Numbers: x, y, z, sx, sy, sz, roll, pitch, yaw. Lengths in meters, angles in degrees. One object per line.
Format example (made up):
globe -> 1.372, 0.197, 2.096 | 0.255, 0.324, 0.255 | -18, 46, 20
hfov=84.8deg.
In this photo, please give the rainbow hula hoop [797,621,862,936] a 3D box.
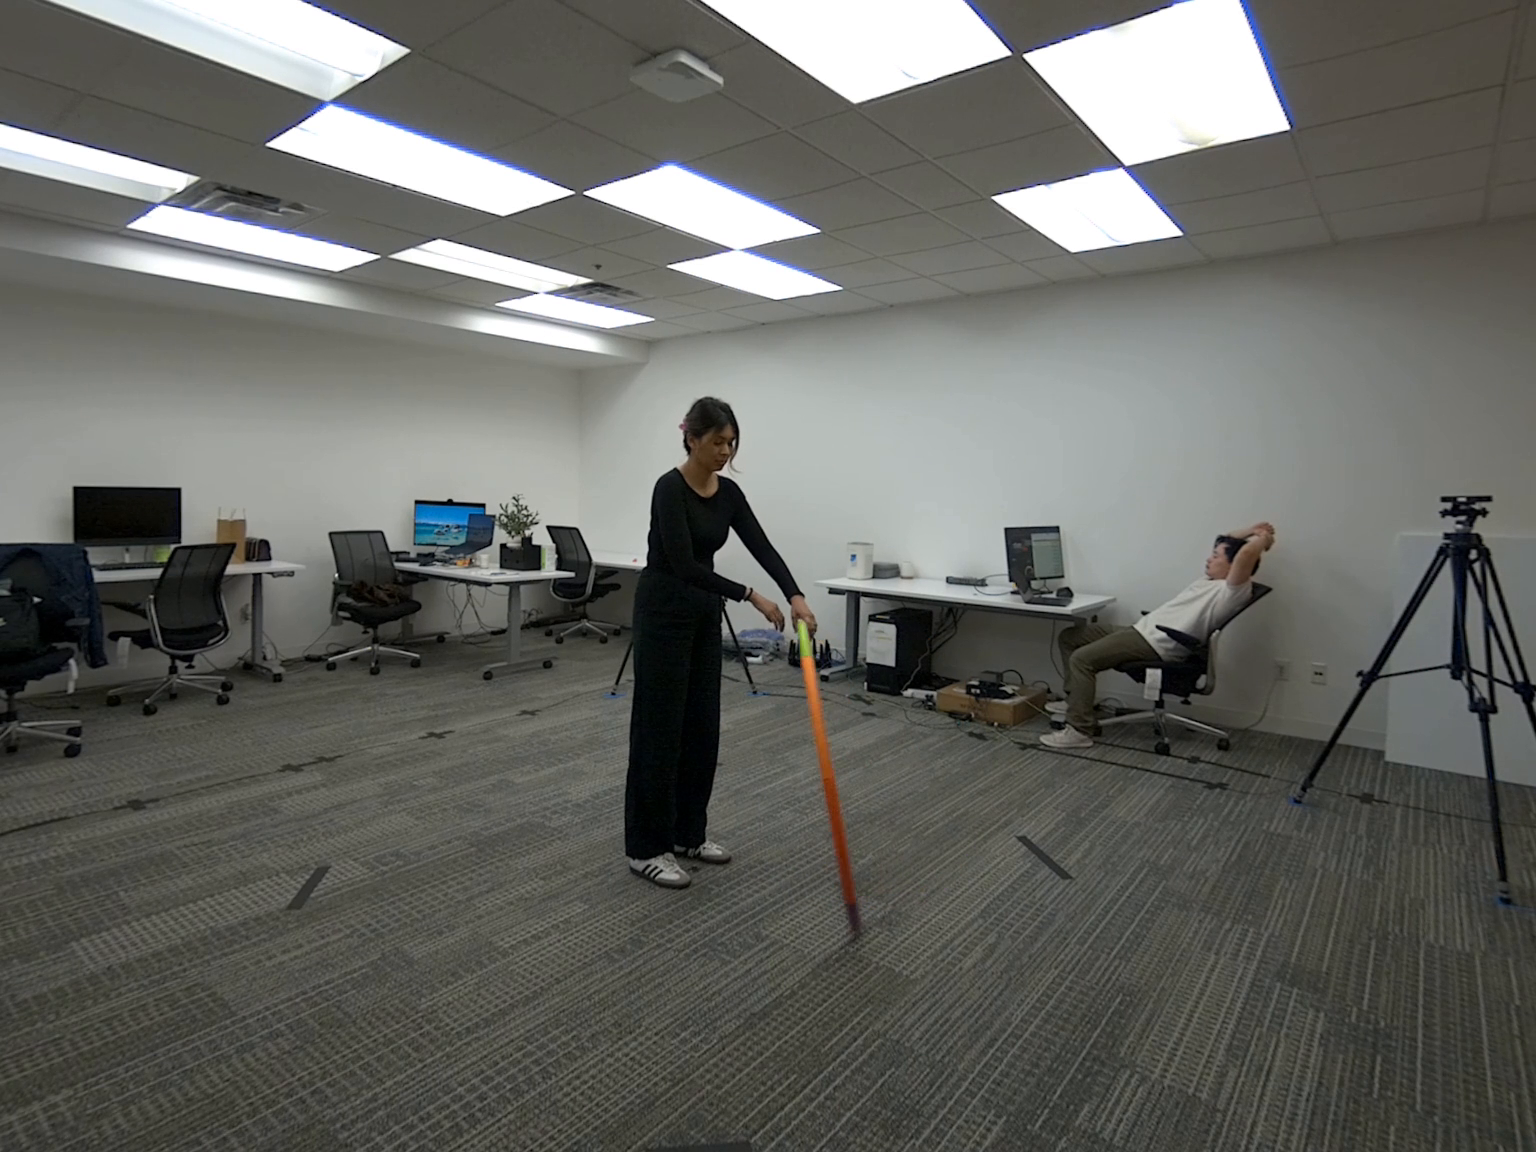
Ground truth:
rainbow hula hoop -> 0.194, 0.630, 2.798 | 0.035, 0.976, 0.979 | -11, 3, 2
